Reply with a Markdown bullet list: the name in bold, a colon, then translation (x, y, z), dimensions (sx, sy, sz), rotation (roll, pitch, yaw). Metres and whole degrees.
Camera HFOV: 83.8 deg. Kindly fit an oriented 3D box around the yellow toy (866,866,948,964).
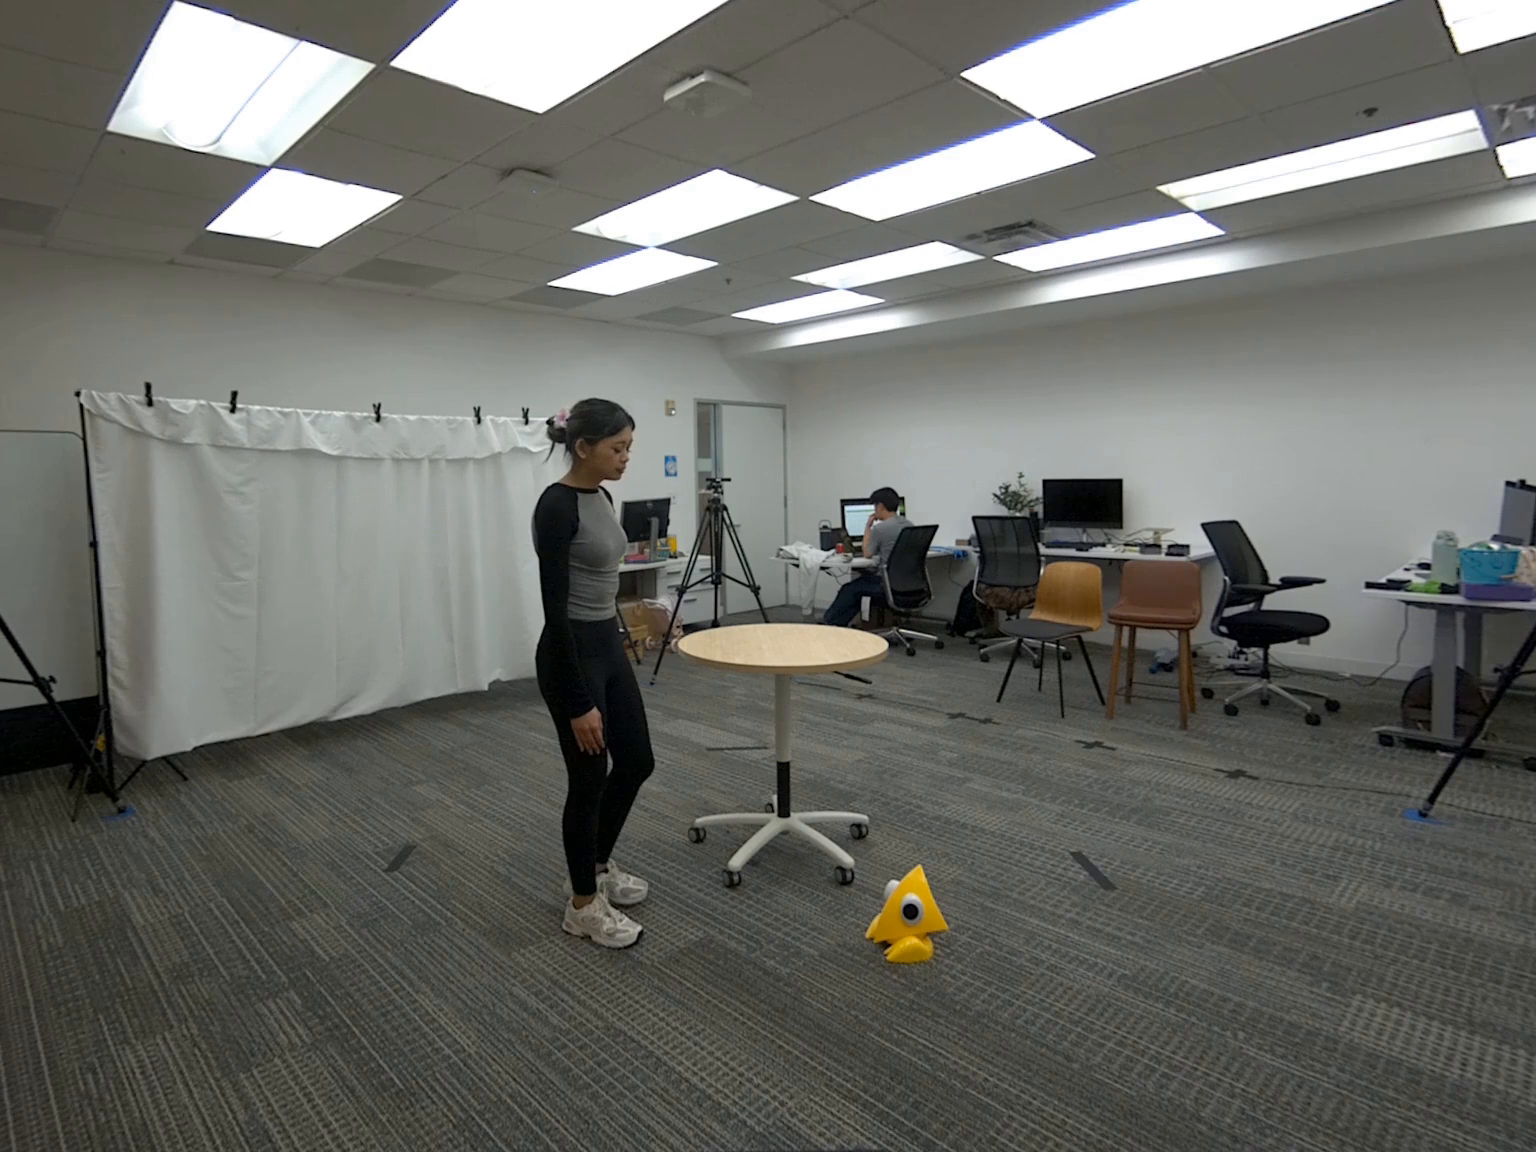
- **yellow toy**: translation (0.404, 0.986, 2.544), dimensions (0.190, 0.229, 0.209), rotation (-3, 6, -21)
